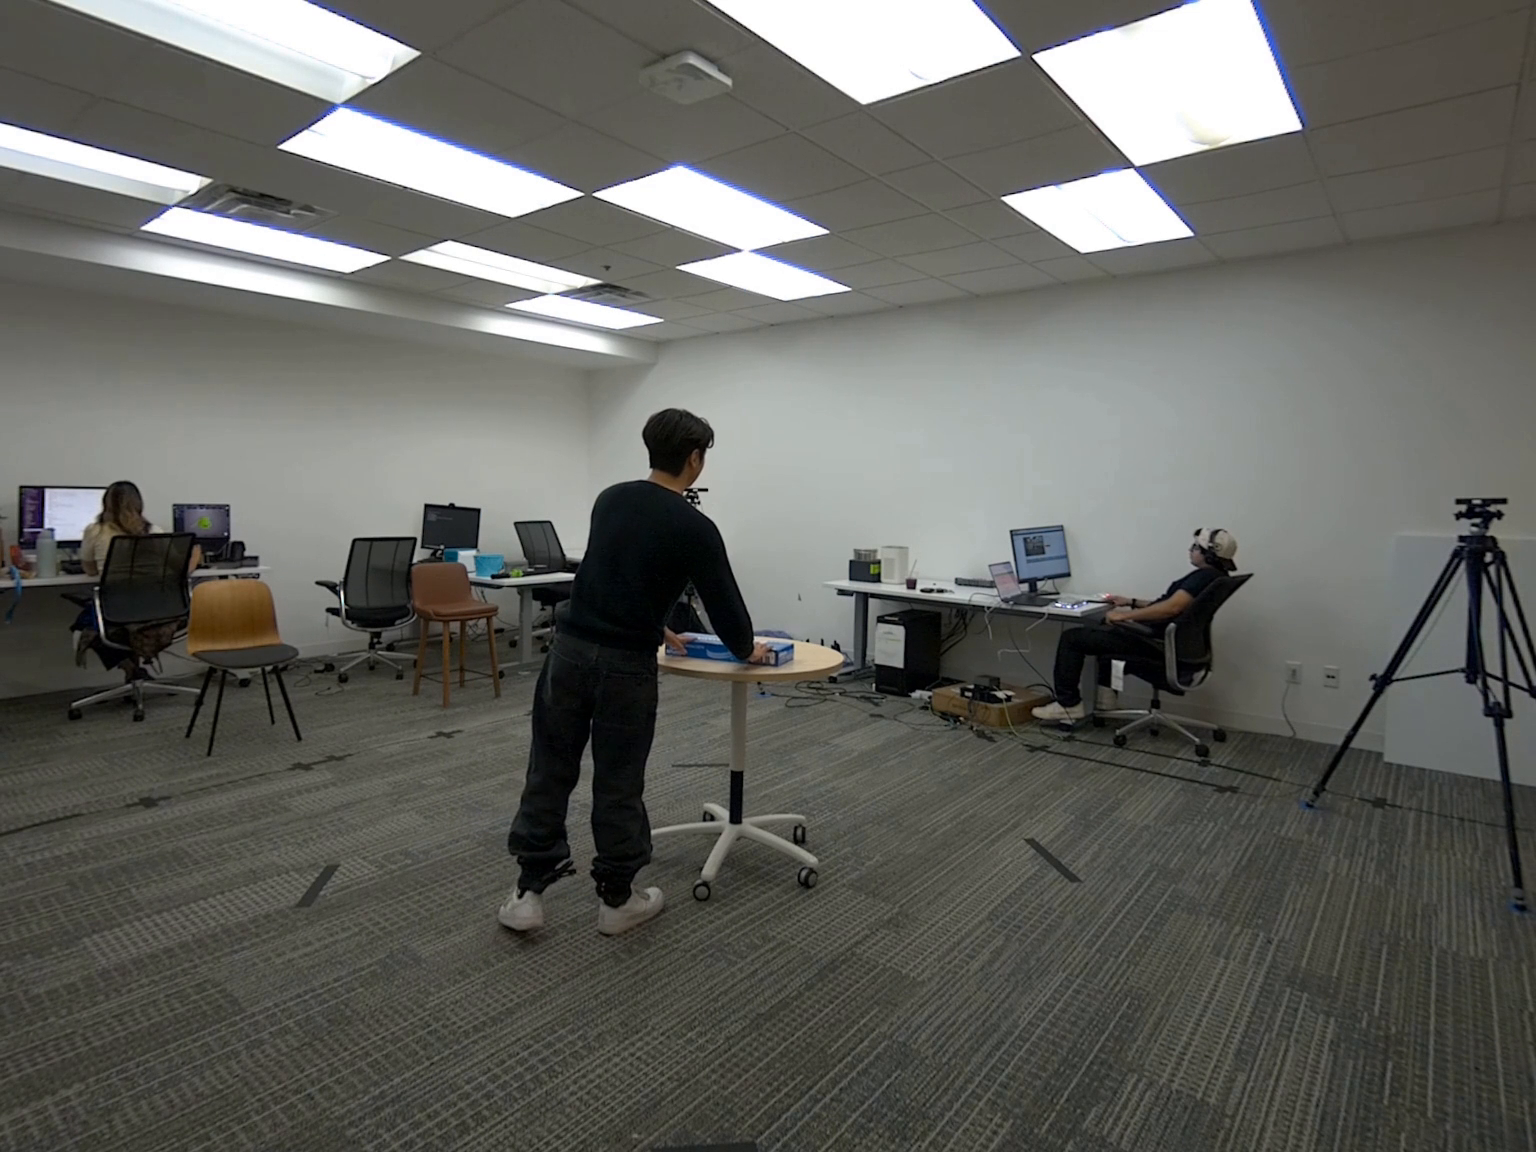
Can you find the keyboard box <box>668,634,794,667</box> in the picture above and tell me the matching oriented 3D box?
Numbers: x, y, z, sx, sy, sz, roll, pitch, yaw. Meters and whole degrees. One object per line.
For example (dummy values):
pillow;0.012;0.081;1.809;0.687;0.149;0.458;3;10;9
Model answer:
keyboard box;-0.144;0.259;3.087;0.448;0.059;0.172;3;5;24
